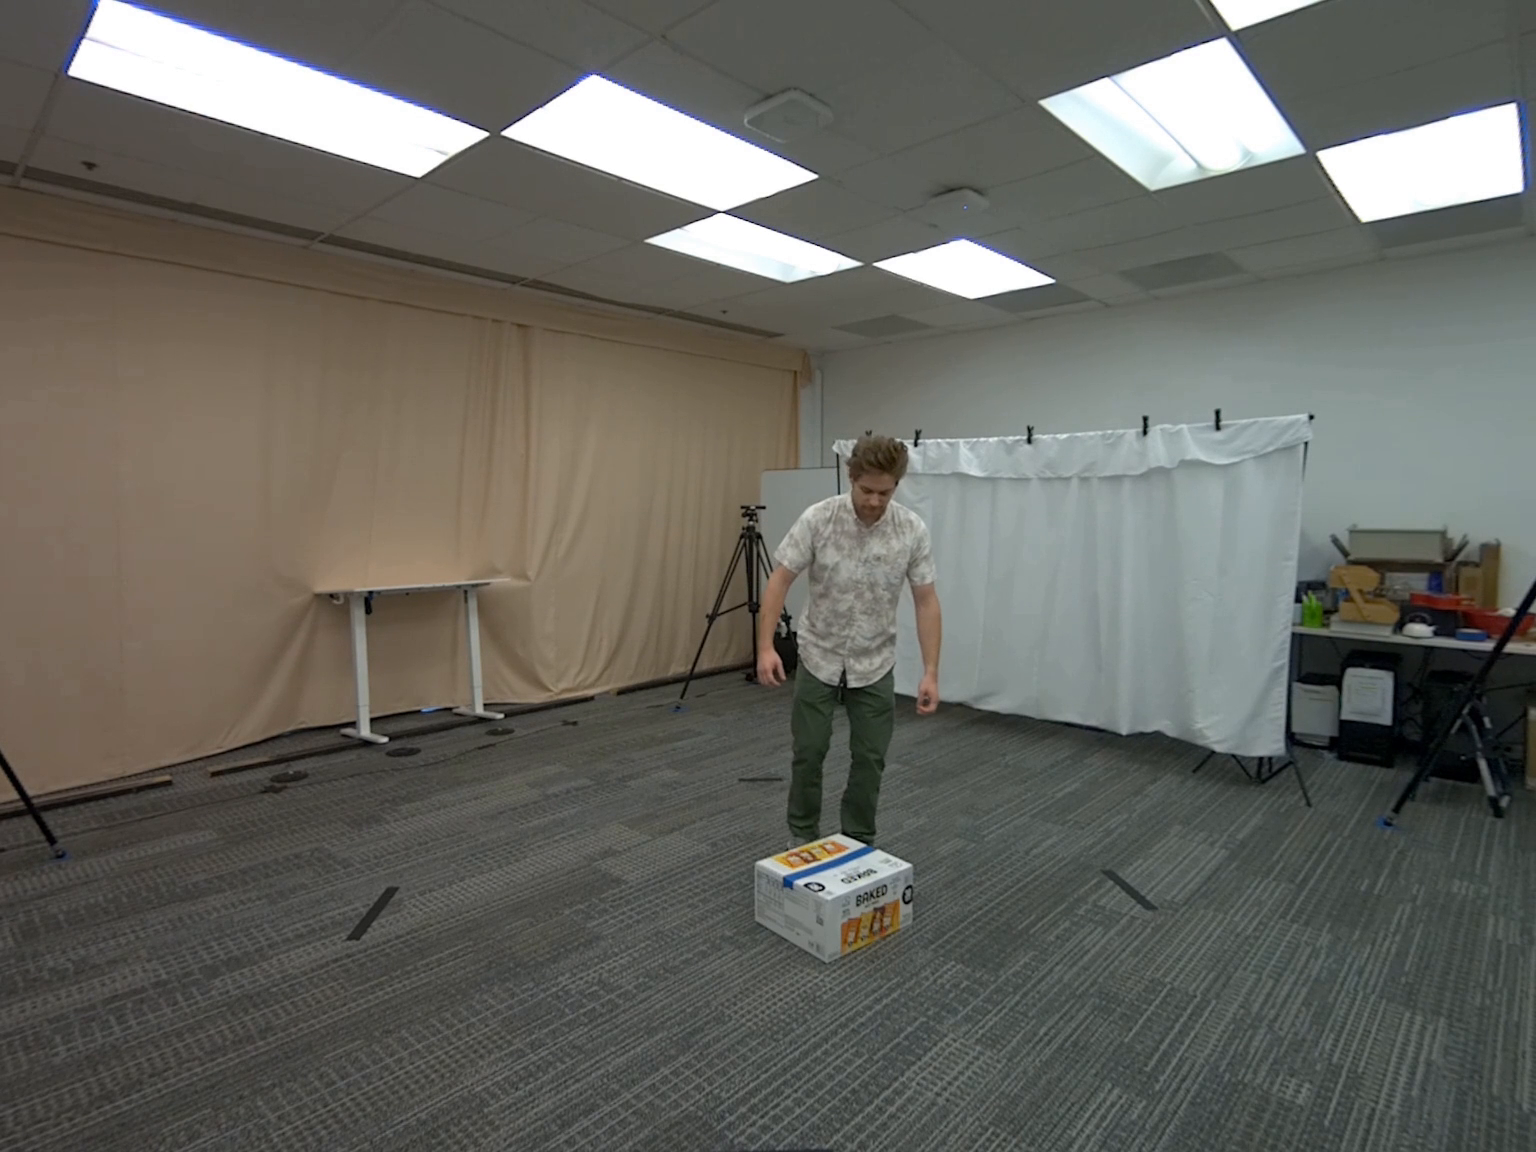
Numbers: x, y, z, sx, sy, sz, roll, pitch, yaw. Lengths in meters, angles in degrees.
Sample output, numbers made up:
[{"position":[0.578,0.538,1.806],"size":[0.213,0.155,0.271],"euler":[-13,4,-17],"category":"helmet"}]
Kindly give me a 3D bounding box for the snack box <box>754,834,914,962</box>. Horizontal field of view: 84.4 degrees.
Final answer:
[{"position":[0.221,1.057,2.801],"size":[0.393,0.205,0.351],"euler":[-4,5,-40],"category":"snack box"}]
